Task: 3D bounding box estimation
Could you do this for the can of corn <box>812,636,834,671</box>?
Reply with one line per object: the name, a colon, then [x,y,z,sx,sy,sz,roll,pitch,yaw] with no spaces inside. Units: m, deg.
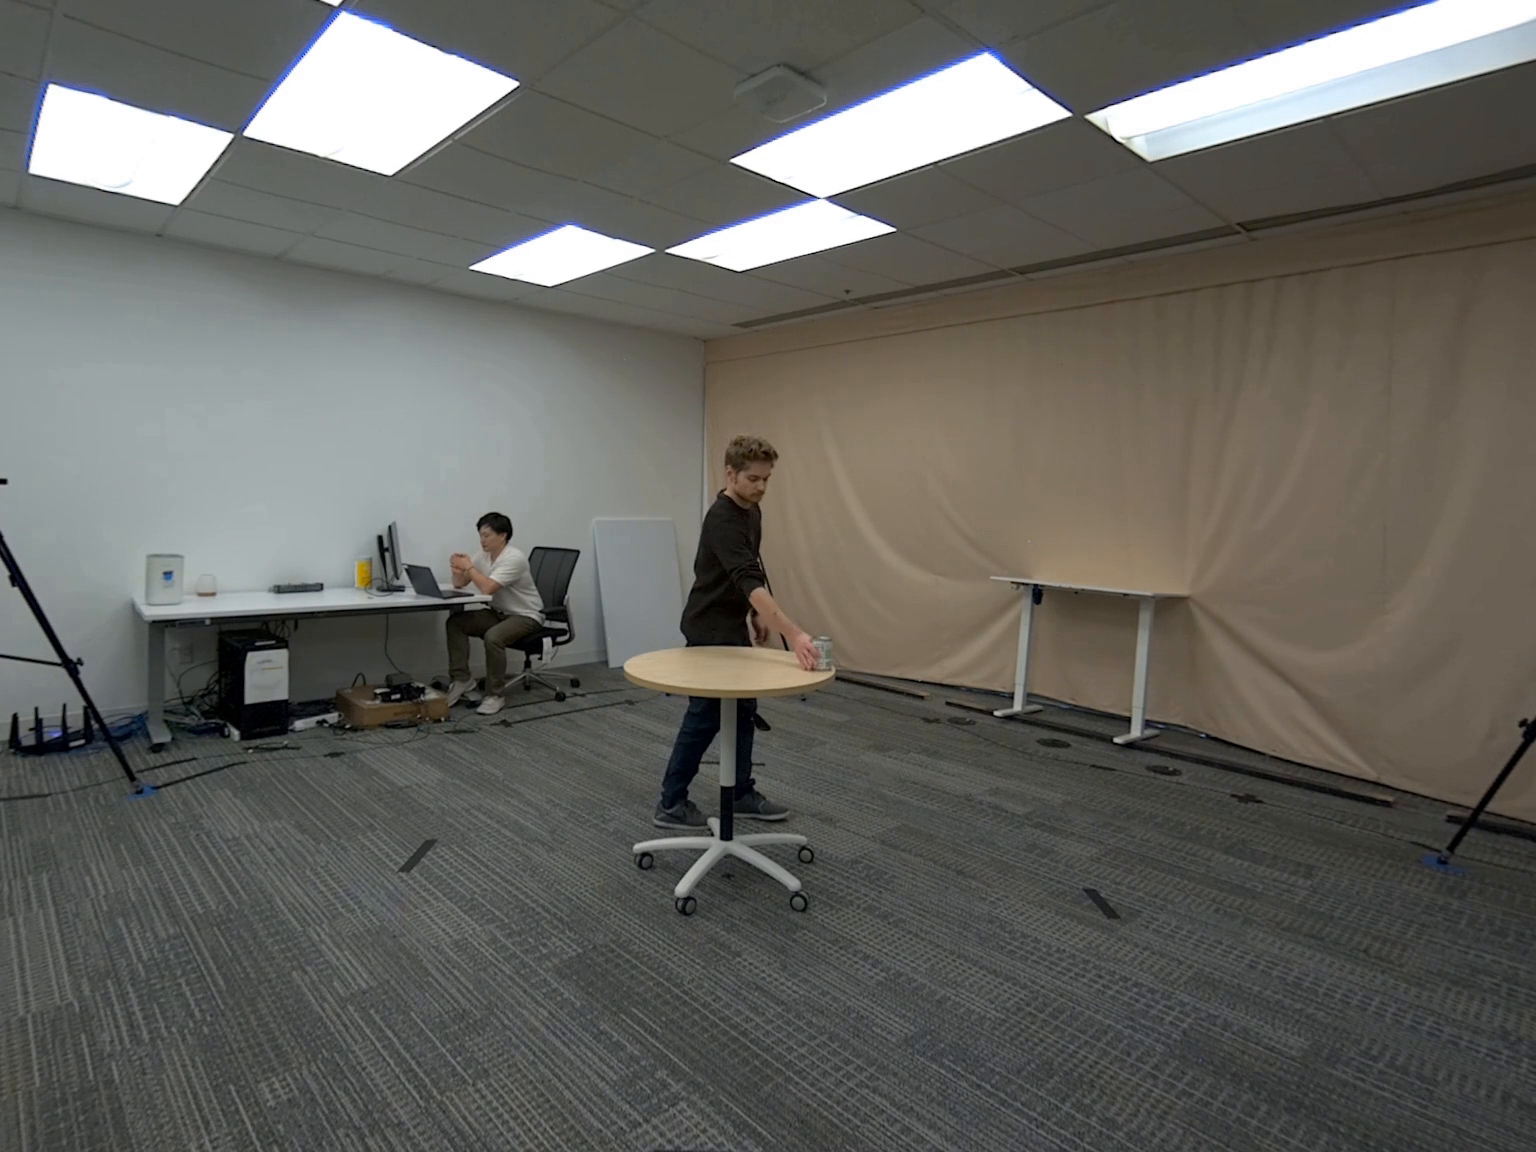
can of corn: [0.190,0.281,3.026,0.074,0.111,0.074,1,1,-1]
